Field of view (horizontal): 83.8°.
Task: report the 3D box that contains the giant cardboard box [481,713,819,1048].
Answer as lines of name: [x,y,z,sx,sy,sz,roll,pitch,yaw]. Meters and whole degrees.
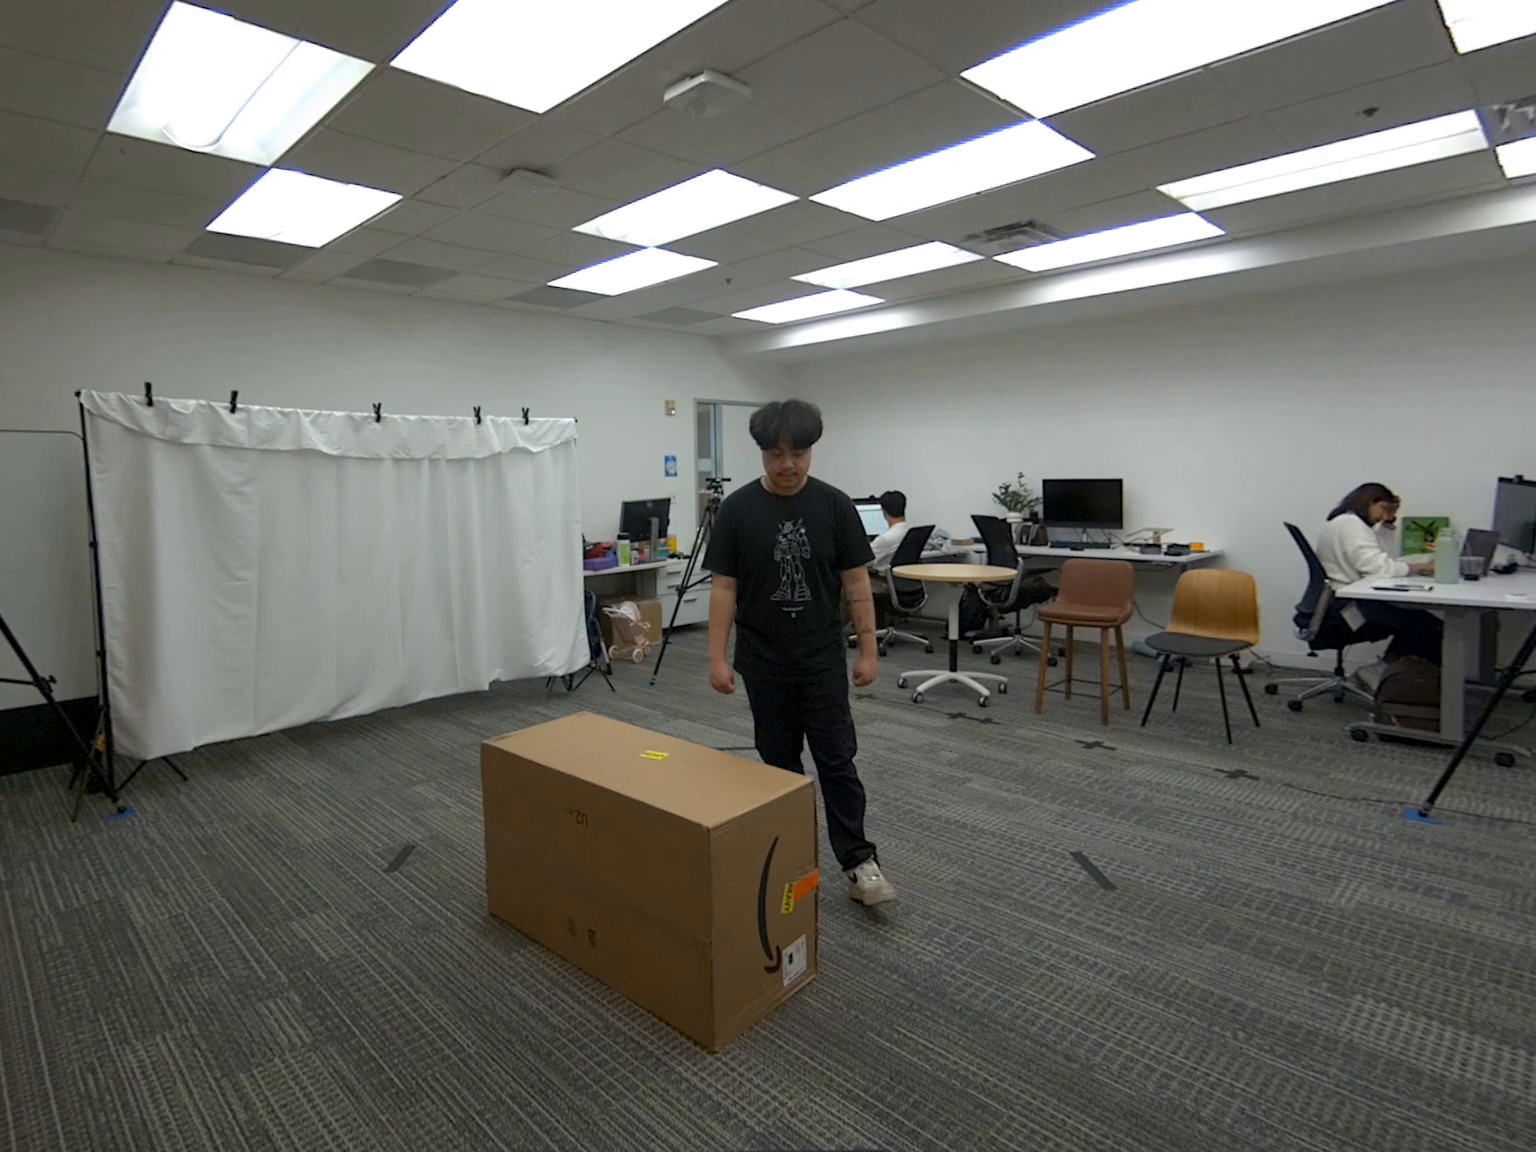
giant cardboard box: [-0.389,0.827,2.562,1.059,0.581,0.435,5,7,41]
